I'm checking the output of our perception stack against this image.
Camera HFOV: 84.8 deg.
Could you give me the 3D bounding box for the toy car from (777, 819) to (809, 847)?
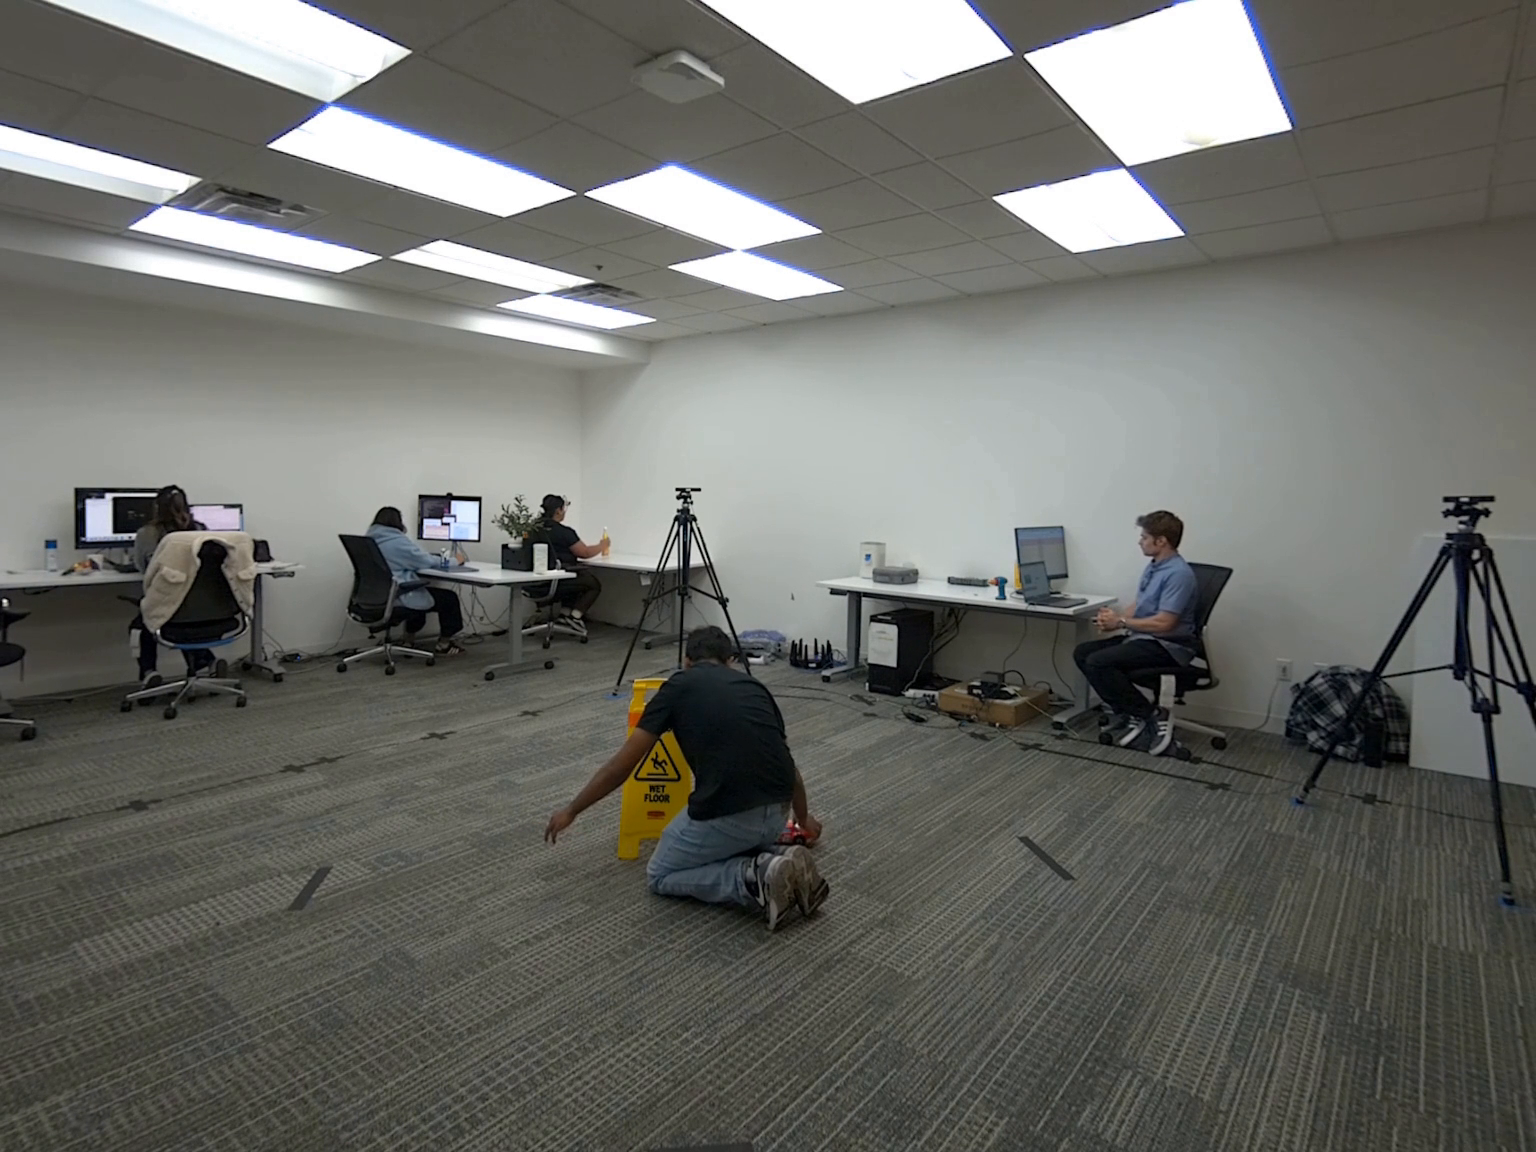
[{"bbox_3d":[0.045,1.013,3.358,0.255,0.083,0.130,-9,3,1],"label":"toy car"}]
